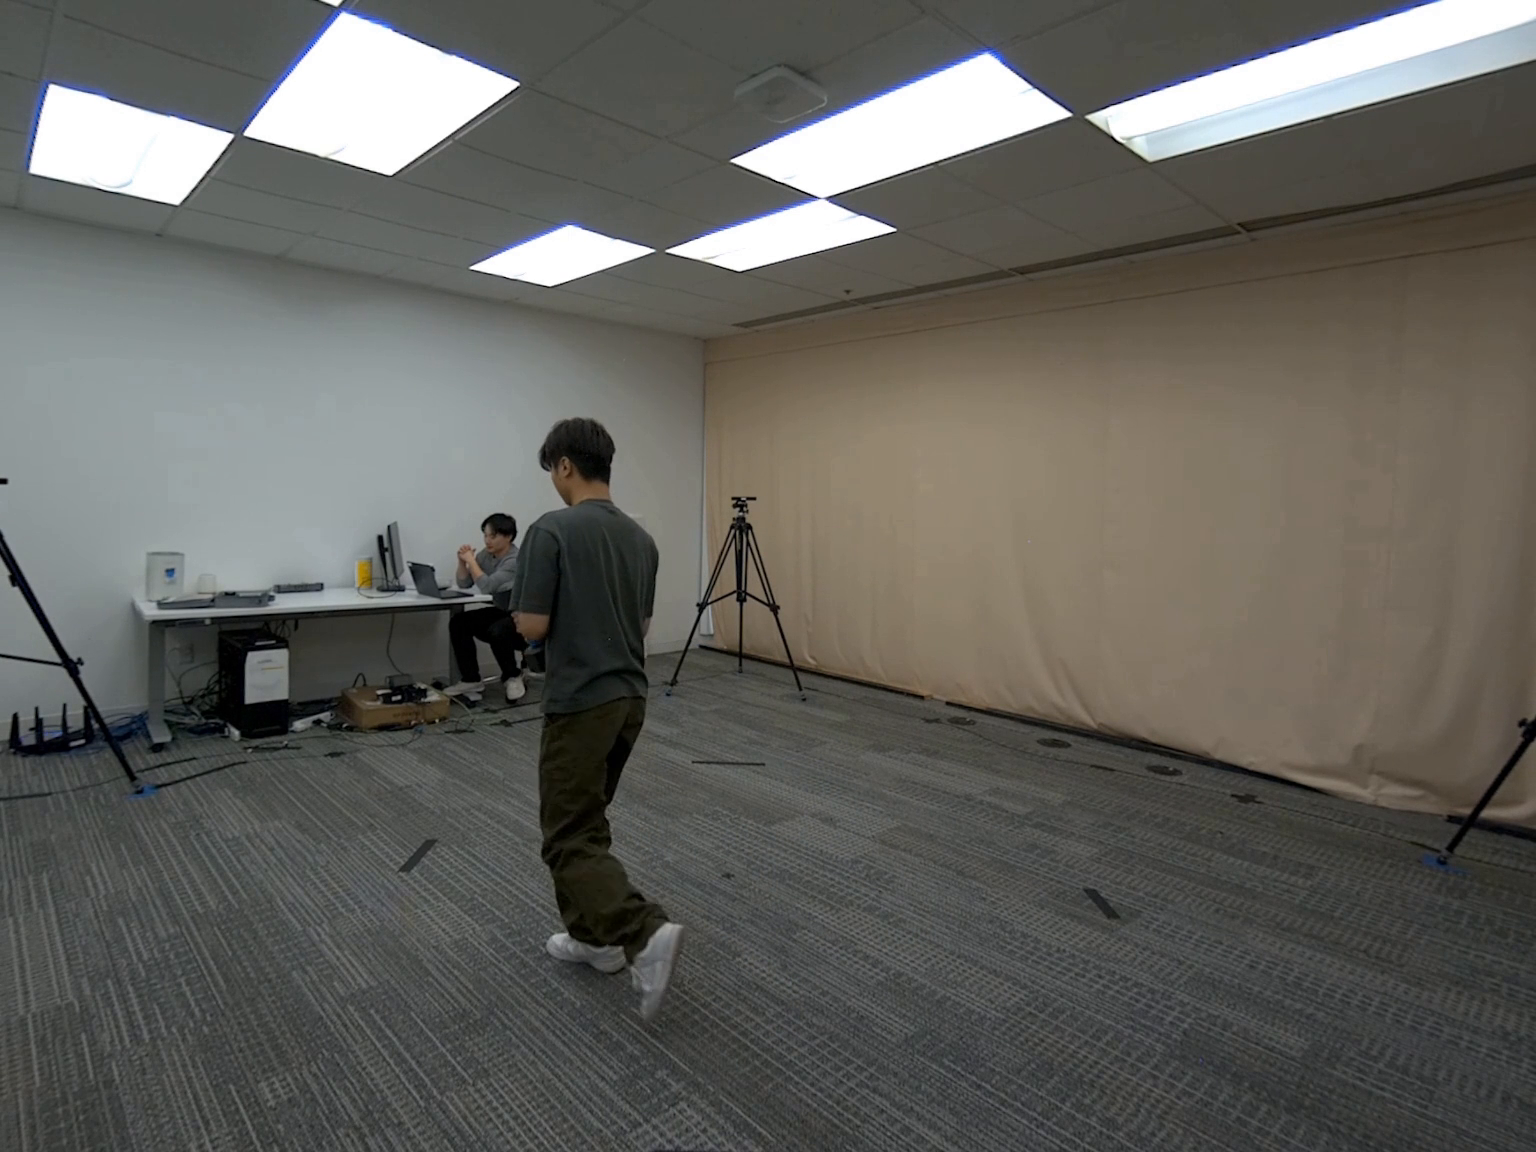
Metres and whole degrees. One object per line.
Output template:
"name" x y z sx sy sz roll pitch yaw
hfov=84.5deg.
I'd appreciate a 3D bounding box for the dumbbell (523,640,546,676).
"dumbbell" -0.727 0.178 2.577 0.111 0.291 0.121 -4 14 43
